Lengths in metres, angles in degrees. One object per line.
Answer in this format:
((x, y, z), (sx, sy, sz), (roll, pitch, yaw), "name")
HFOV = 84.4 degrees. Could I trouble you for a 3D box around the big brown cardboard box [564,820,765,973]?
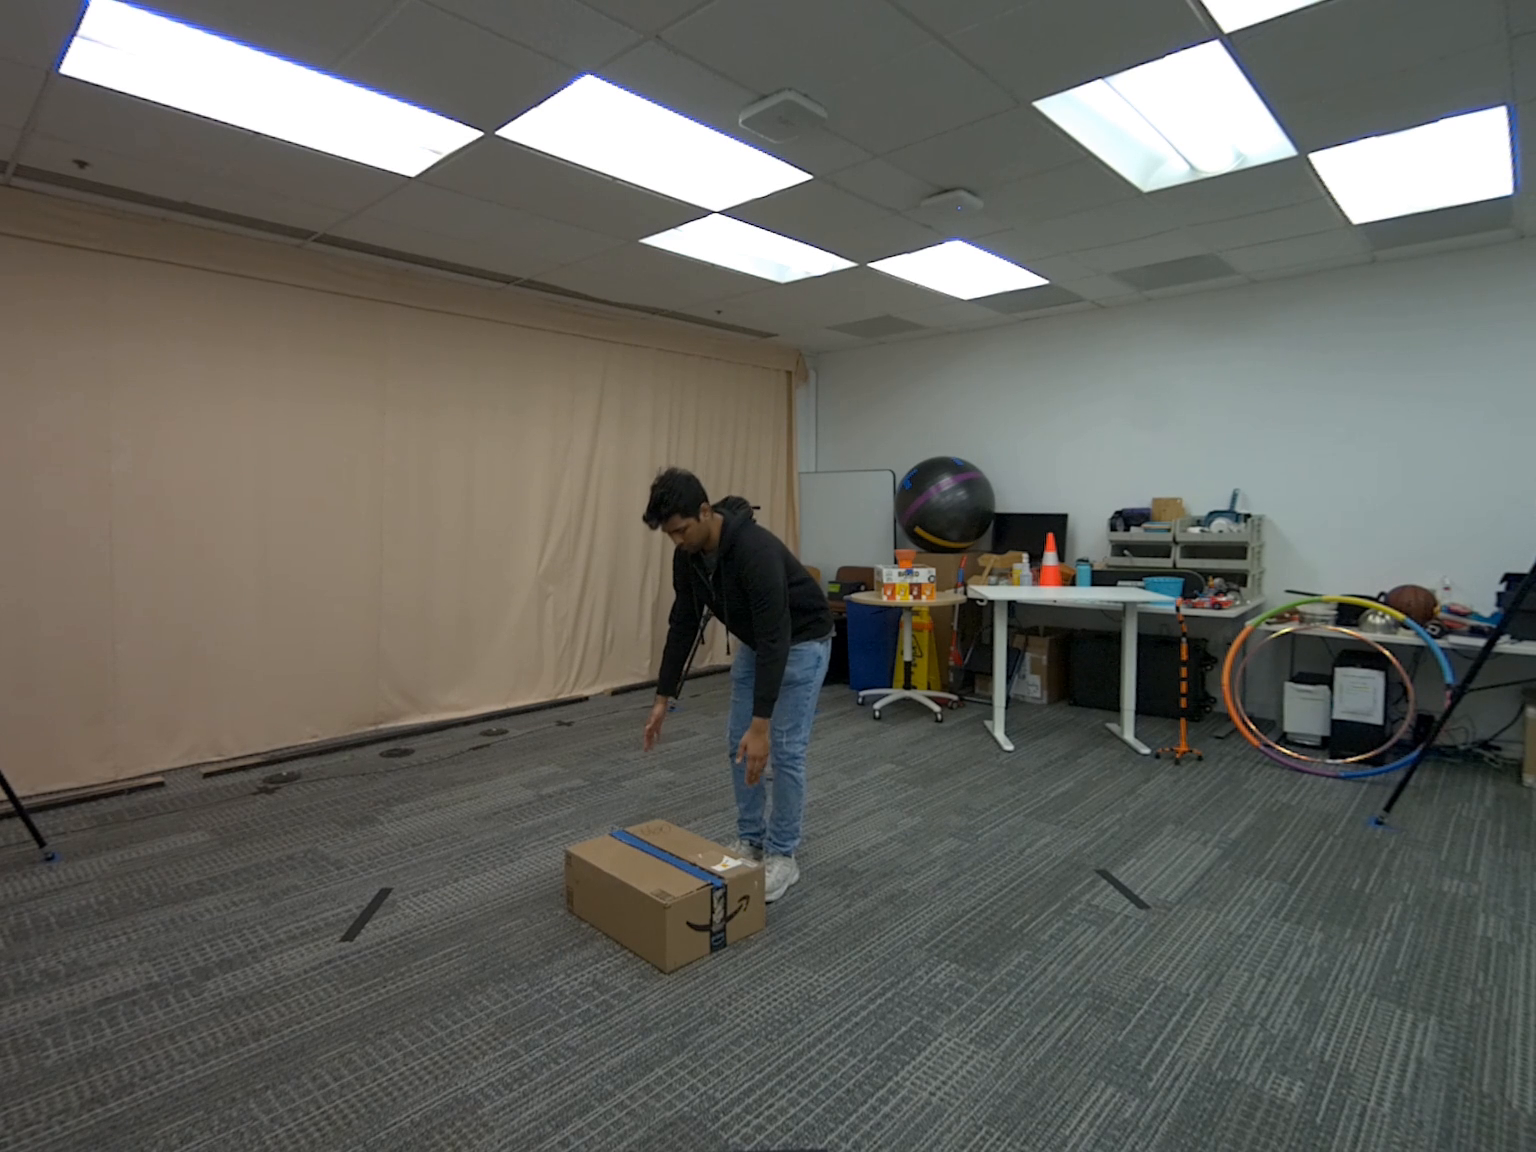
((-0.352, 1.051, 2.840), (0.405, 0.233, 0.608), (-4, 5, -44), "big brown cardboard box")
